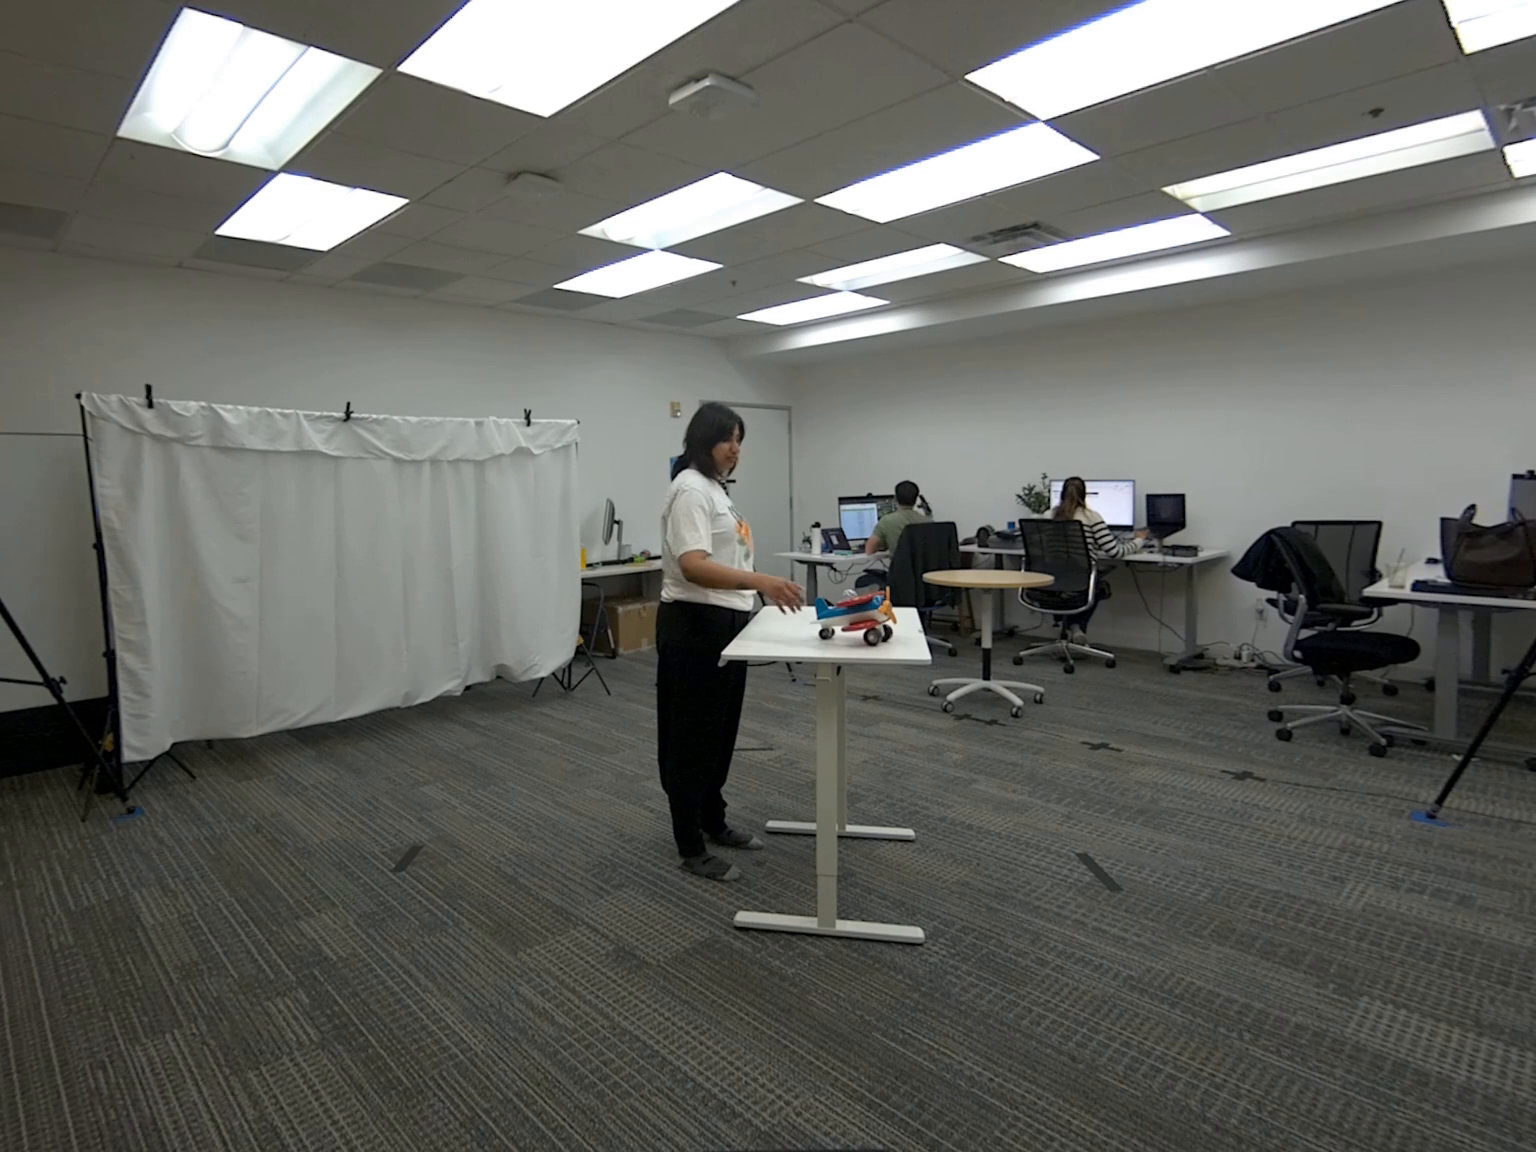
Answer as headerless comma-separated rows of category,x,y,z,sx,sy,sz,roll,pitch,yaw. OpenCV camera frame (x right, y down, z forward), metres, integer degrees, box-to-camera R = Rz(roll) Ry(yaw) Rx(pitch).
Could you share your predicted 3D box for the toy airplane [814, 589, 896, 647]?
toy airplane,0.264,0.130,2.657,0.260,0.156,0.251,2,5,4
